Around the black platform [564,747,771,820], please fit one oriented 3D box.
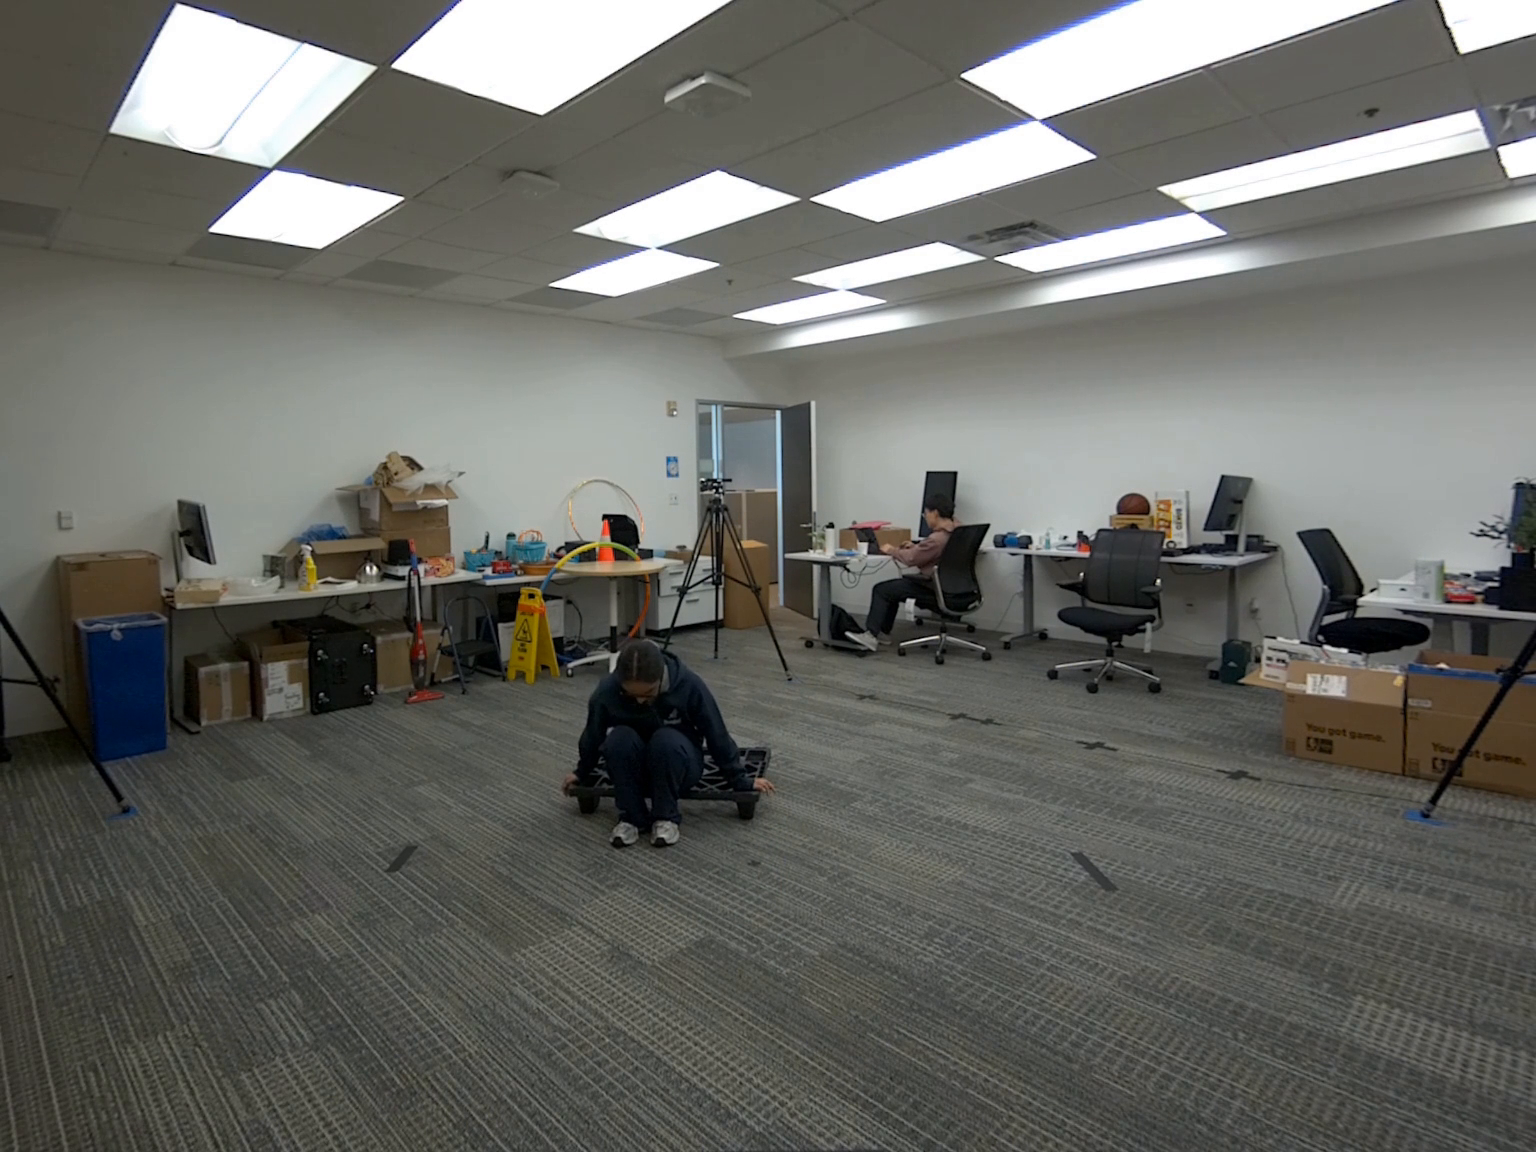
[{"bbox_3d":[-0.401,0.904,3.791,0.812,0.143,0.602,0,5,7],"label":"black platform"}]
